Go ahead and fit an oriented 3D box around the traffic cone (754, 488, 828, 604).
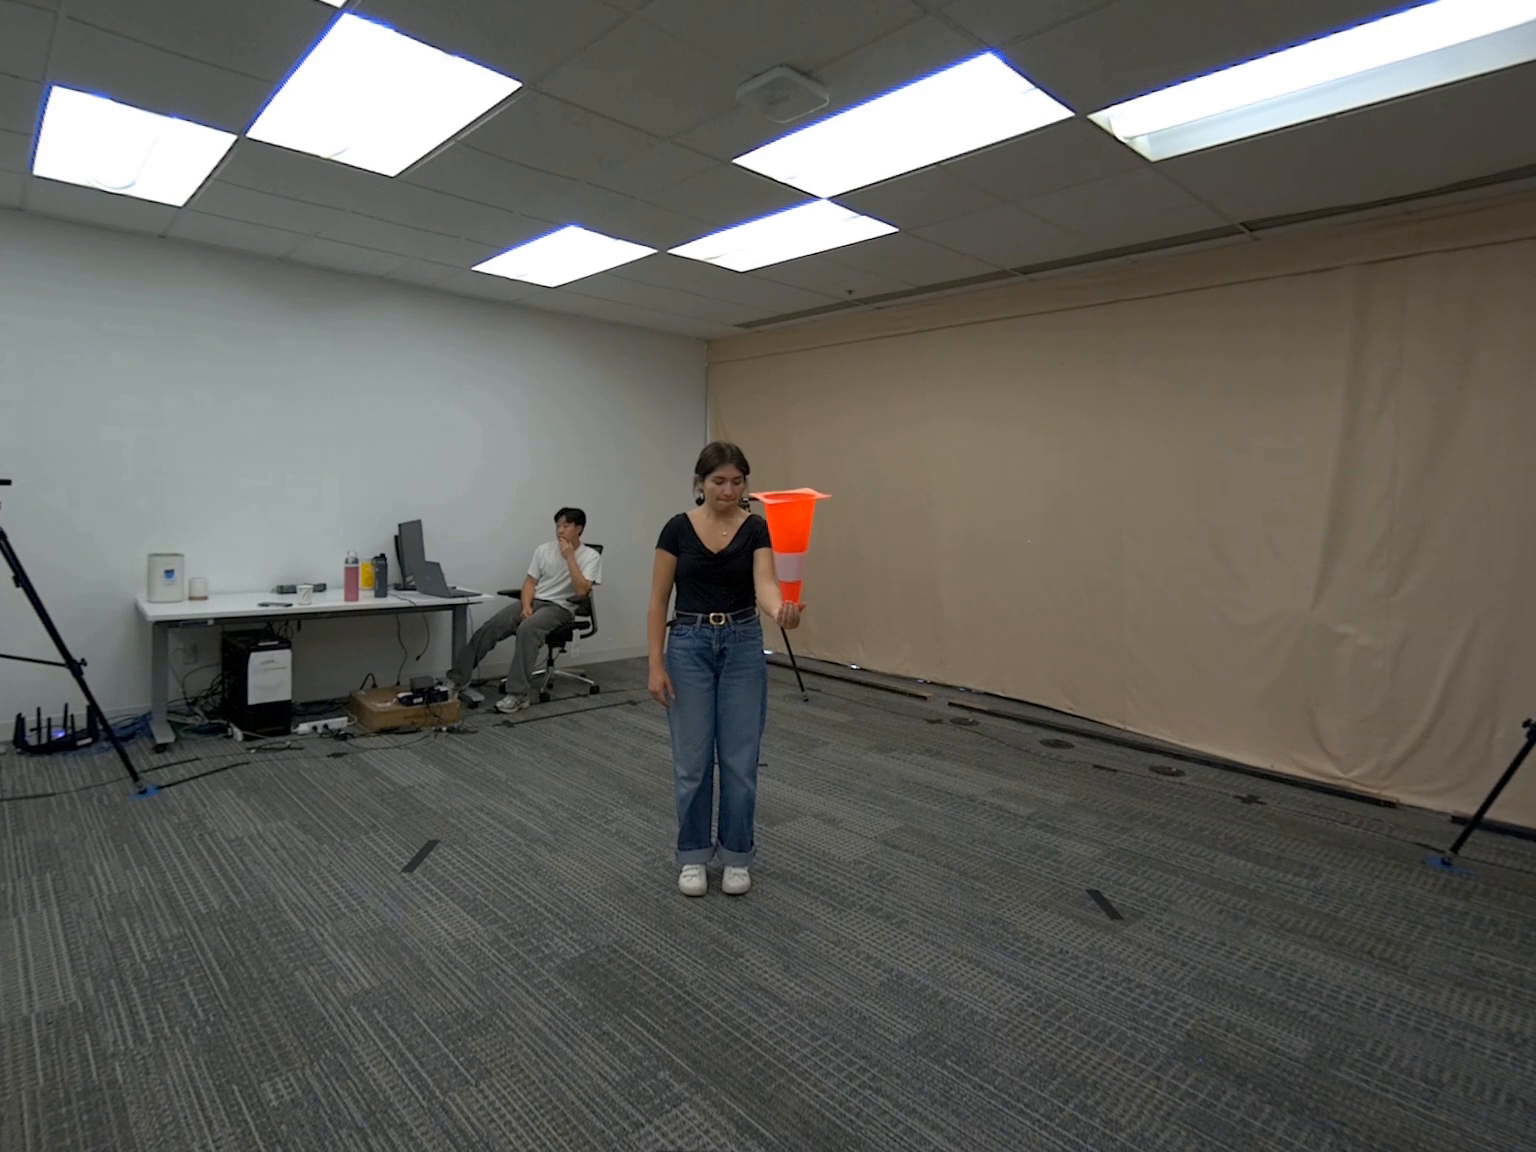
[{"bbox_3d":[0.062,-0.048,2.527,0.203,0.380,0.207,-3,11,-14],"label":"traffic cone"}]
